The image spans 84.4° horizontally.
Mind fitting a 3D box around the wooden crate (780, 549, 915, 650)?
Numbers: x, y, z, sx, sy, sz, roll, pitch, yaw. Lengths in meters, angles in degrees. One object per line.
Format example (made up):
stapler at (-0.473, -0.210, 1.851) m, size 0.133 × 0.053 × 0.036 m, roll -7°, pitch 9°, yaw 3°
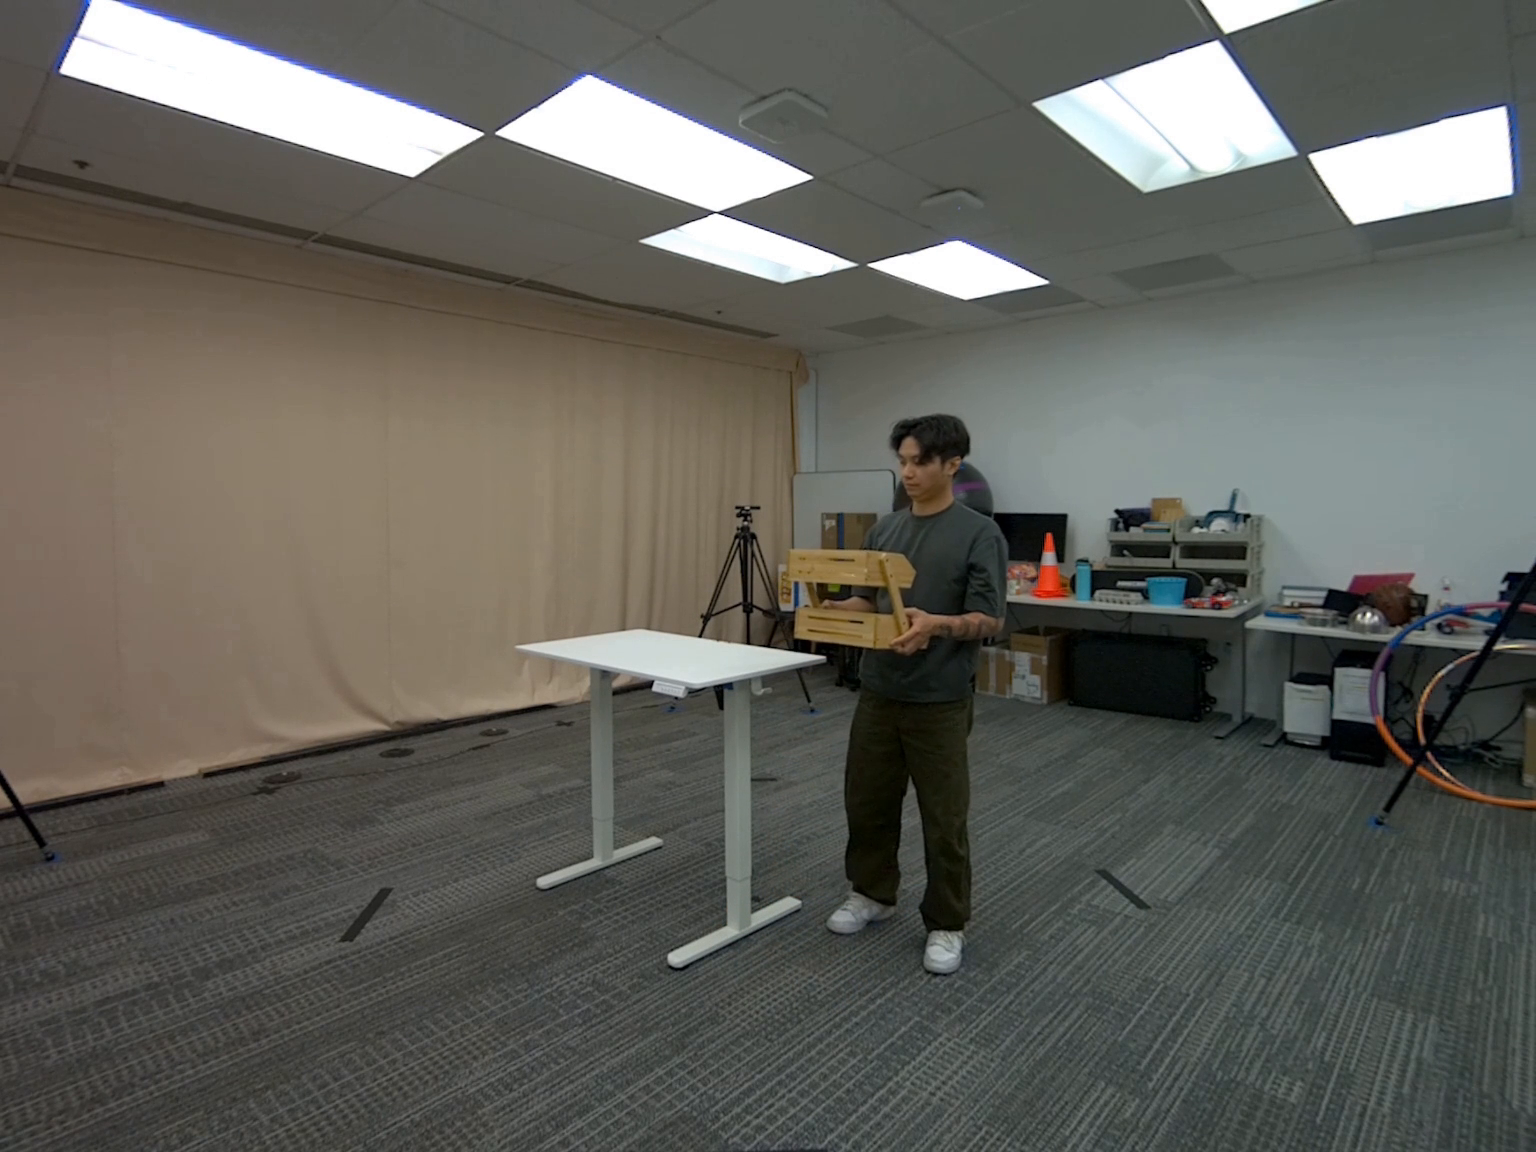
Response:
wooden crate at (0.270, 0.061, 2.438) m, size 0.292 × 0.273 × 0.335 m, roll 4°, pitch -2°, yaw -42°
